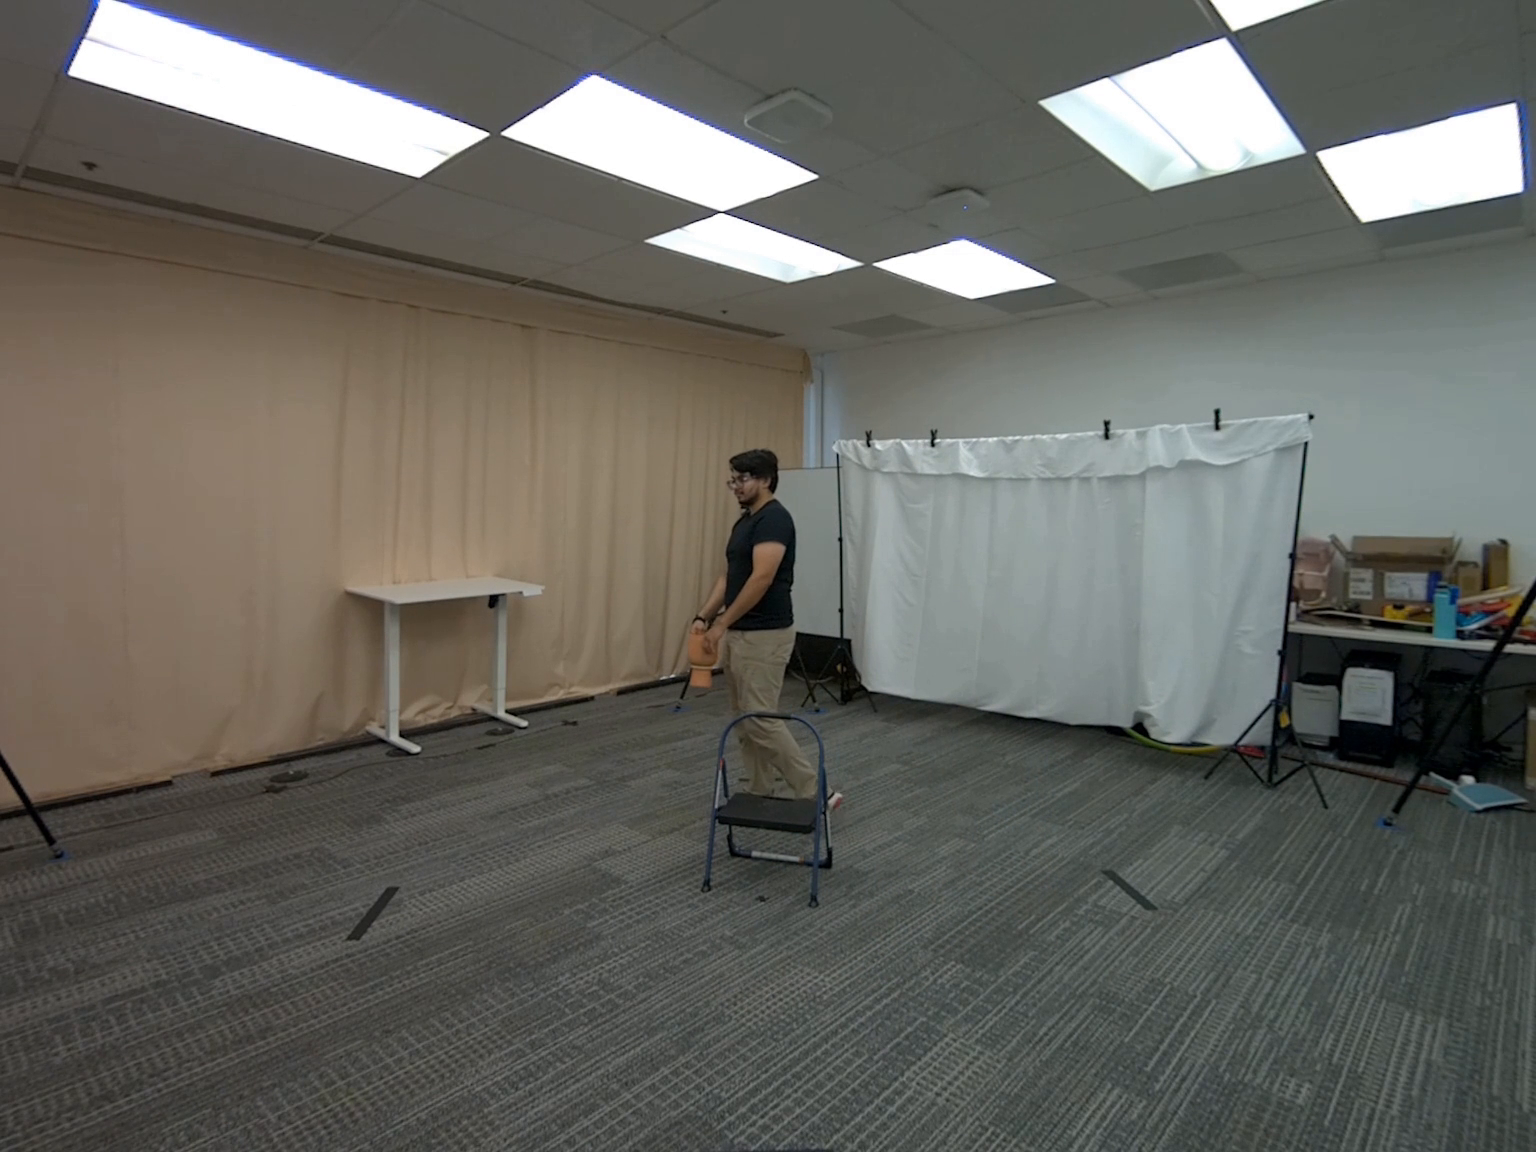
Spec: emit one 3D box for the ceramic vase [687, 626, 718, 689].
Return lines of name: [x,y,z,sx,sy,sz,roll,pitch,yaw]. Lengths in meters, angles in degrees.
ceramic vase: [-0.280,0.366,3.633,0.137,0.220,0.156,1,-3,15]
